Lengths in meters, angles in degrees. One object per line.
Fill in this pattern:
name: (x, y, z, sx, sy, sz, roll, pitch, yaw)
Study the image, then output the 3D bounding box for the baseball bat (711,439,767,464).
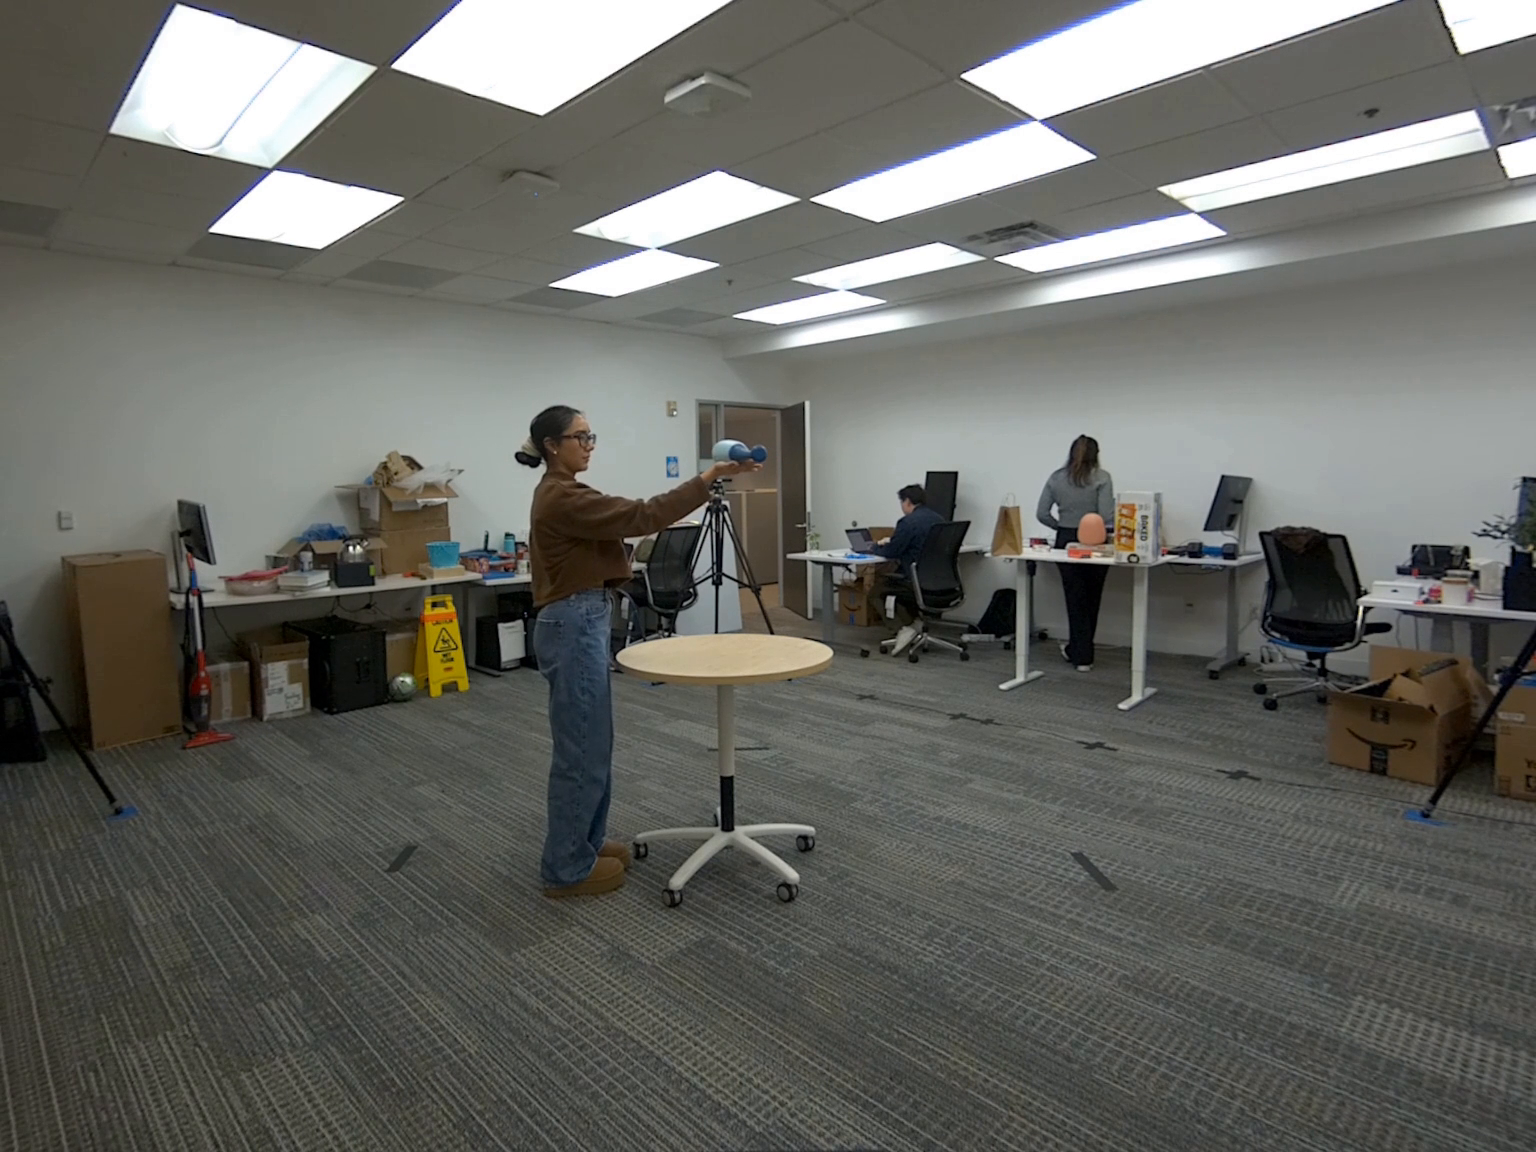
baseball bat: (-0.086, -0.396, 2.768, 0.088, 0.088, 0.553, -2, 9, -14)
